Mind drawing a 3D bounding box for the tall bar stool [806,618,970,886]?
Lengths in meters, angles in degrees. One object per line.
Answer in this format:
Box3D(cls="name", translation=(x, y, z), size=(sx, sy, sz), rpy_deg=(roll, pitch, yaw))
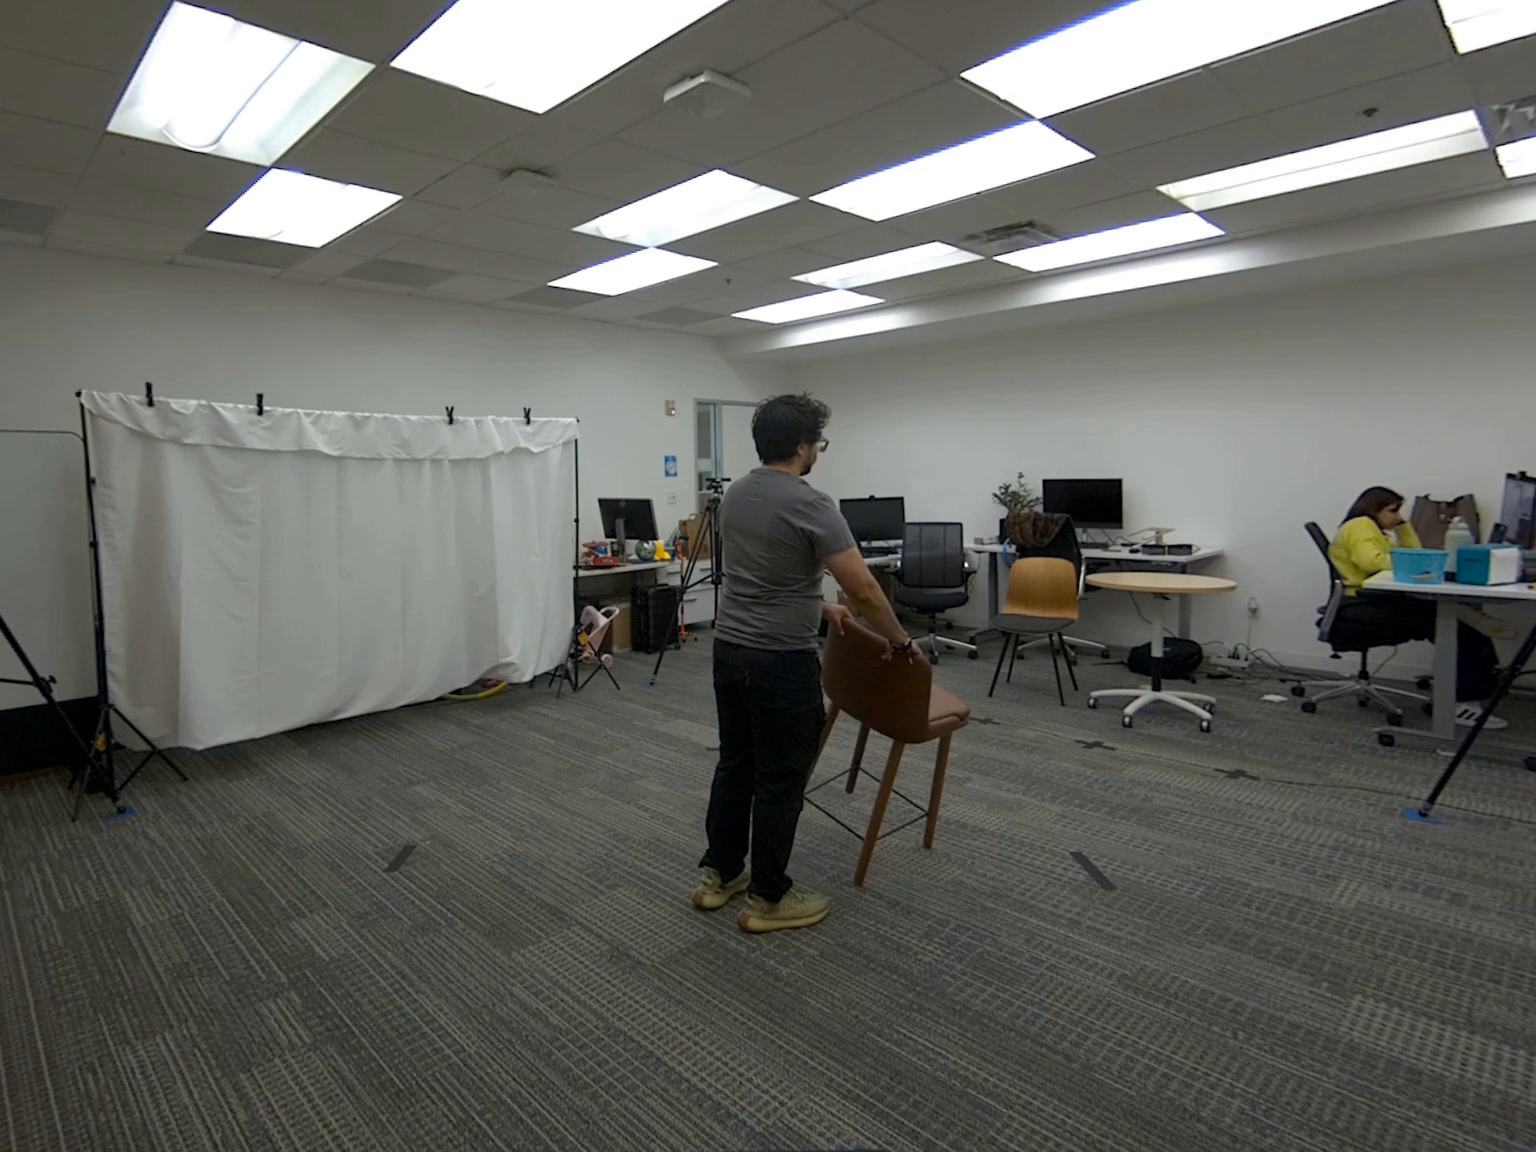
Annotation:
Box3D(cls="tall bar stool", translation=(0.411, 0.567, 3.061), size=(0.474, 0.879, 0.456), rpy_deg=(25, 23, 38))
